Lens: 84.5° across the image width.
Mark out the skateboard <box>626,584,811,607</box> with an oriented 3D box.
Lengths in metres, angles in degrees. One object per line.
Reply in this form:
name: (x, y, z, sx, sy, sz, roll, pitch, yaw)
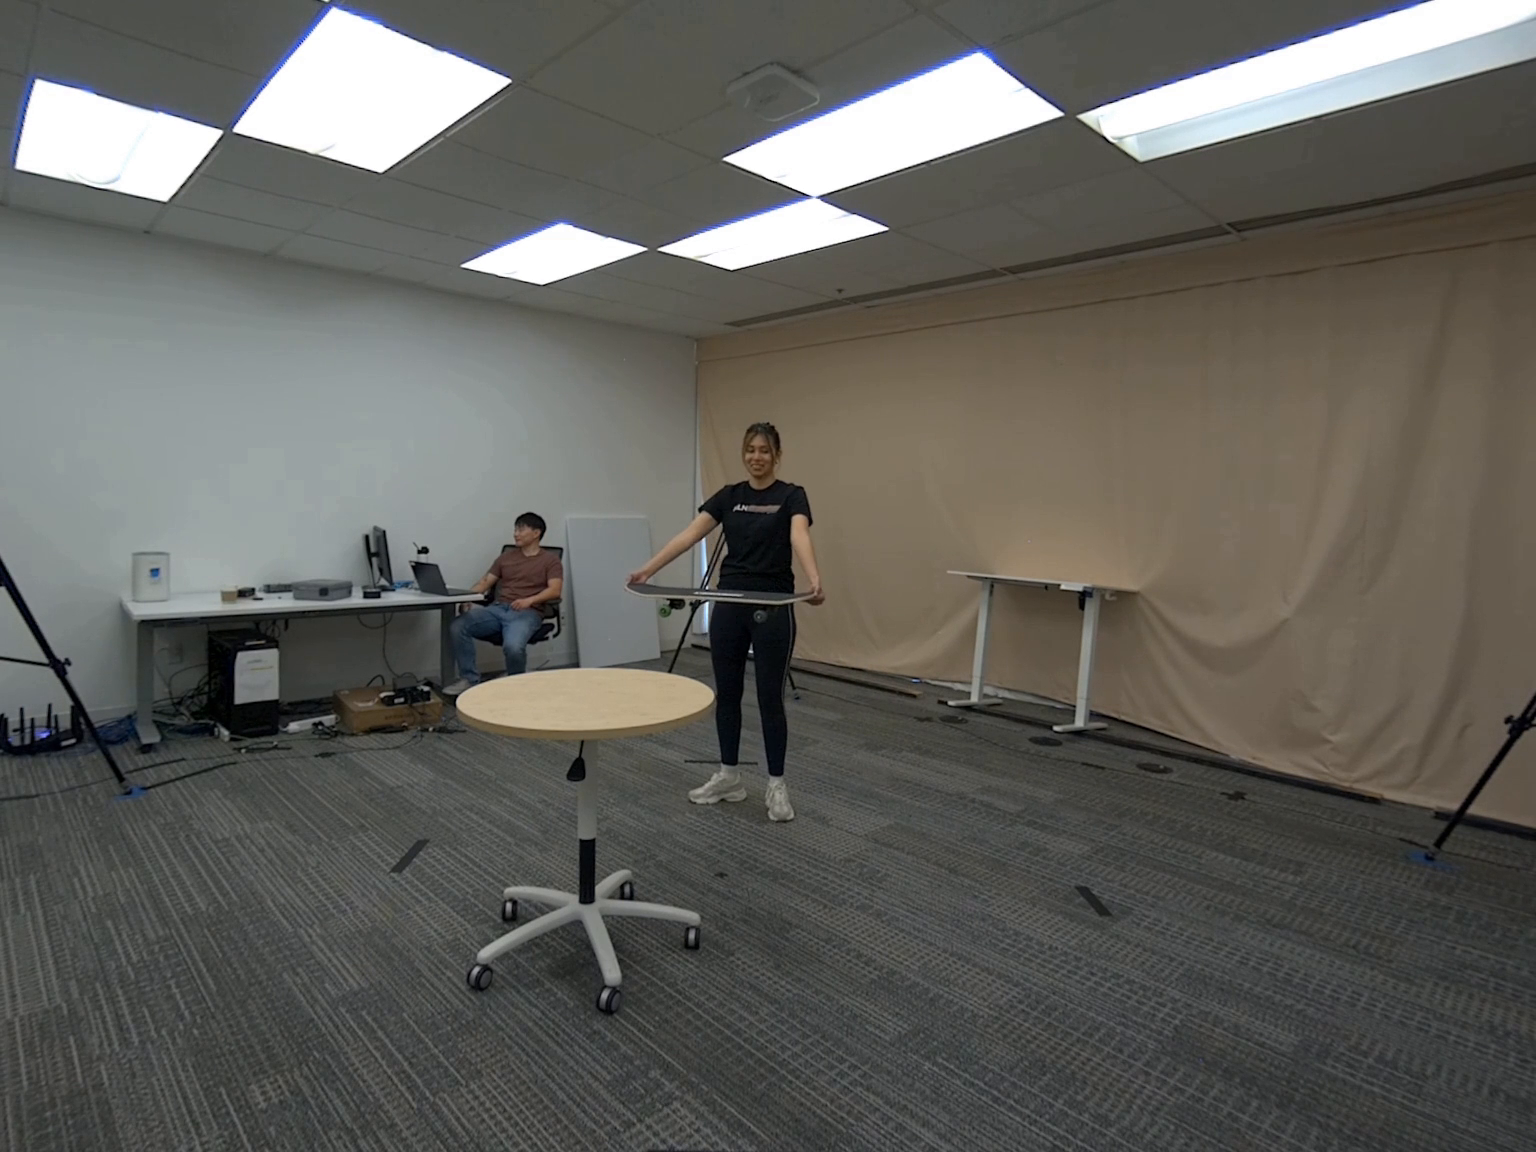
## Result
skateboard: (-0.207, 0.107, 3.359, 0.797, 0.110, 0.192, 3, 9, 19)
